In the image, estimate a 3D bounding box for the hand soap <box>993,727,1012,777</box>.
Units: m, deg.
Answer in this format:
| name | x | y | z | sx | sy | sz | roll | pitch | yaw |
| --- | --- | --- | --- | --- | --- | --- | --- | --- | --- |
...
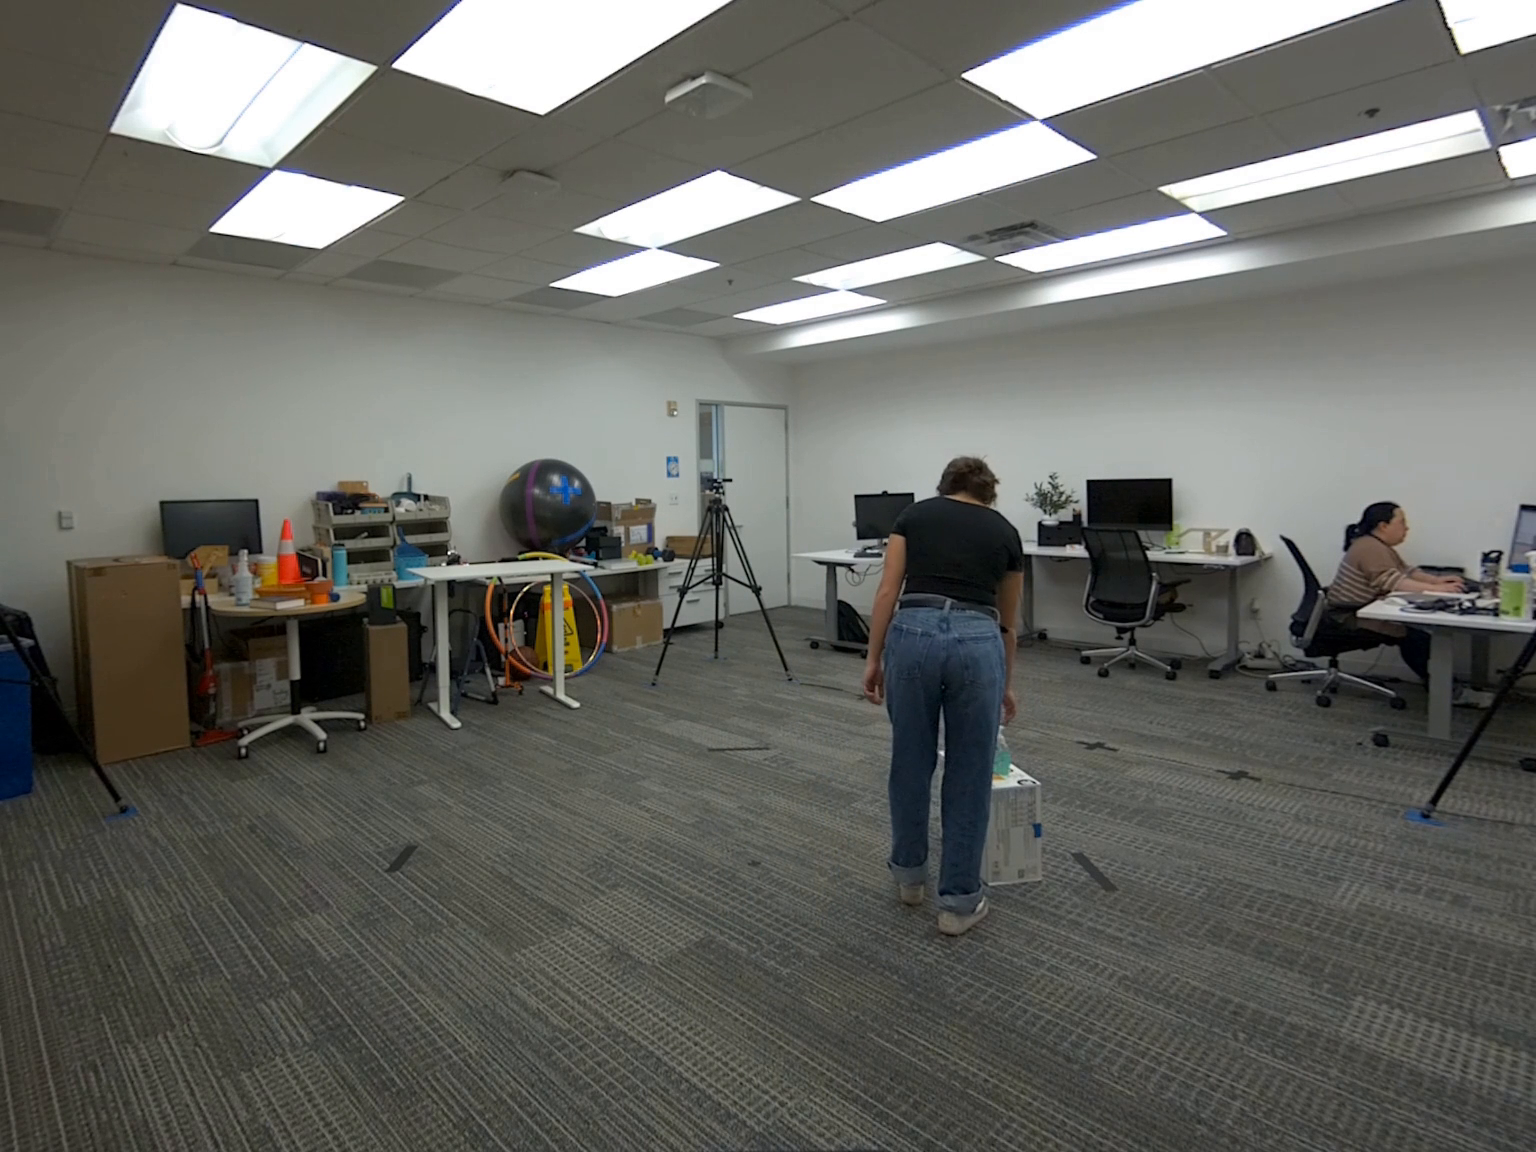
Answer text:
| name | x | y | z | sx | sy | sz | roll | pitch | yaw |
| --- | --- | --- | --- | --- | --- | --- | --- | --- | --- |
| hand soap | 0.834 | 0.619 | 3.039 | 0.043 | 0.168 | 0.086 | -2 | 0 | -19 |
